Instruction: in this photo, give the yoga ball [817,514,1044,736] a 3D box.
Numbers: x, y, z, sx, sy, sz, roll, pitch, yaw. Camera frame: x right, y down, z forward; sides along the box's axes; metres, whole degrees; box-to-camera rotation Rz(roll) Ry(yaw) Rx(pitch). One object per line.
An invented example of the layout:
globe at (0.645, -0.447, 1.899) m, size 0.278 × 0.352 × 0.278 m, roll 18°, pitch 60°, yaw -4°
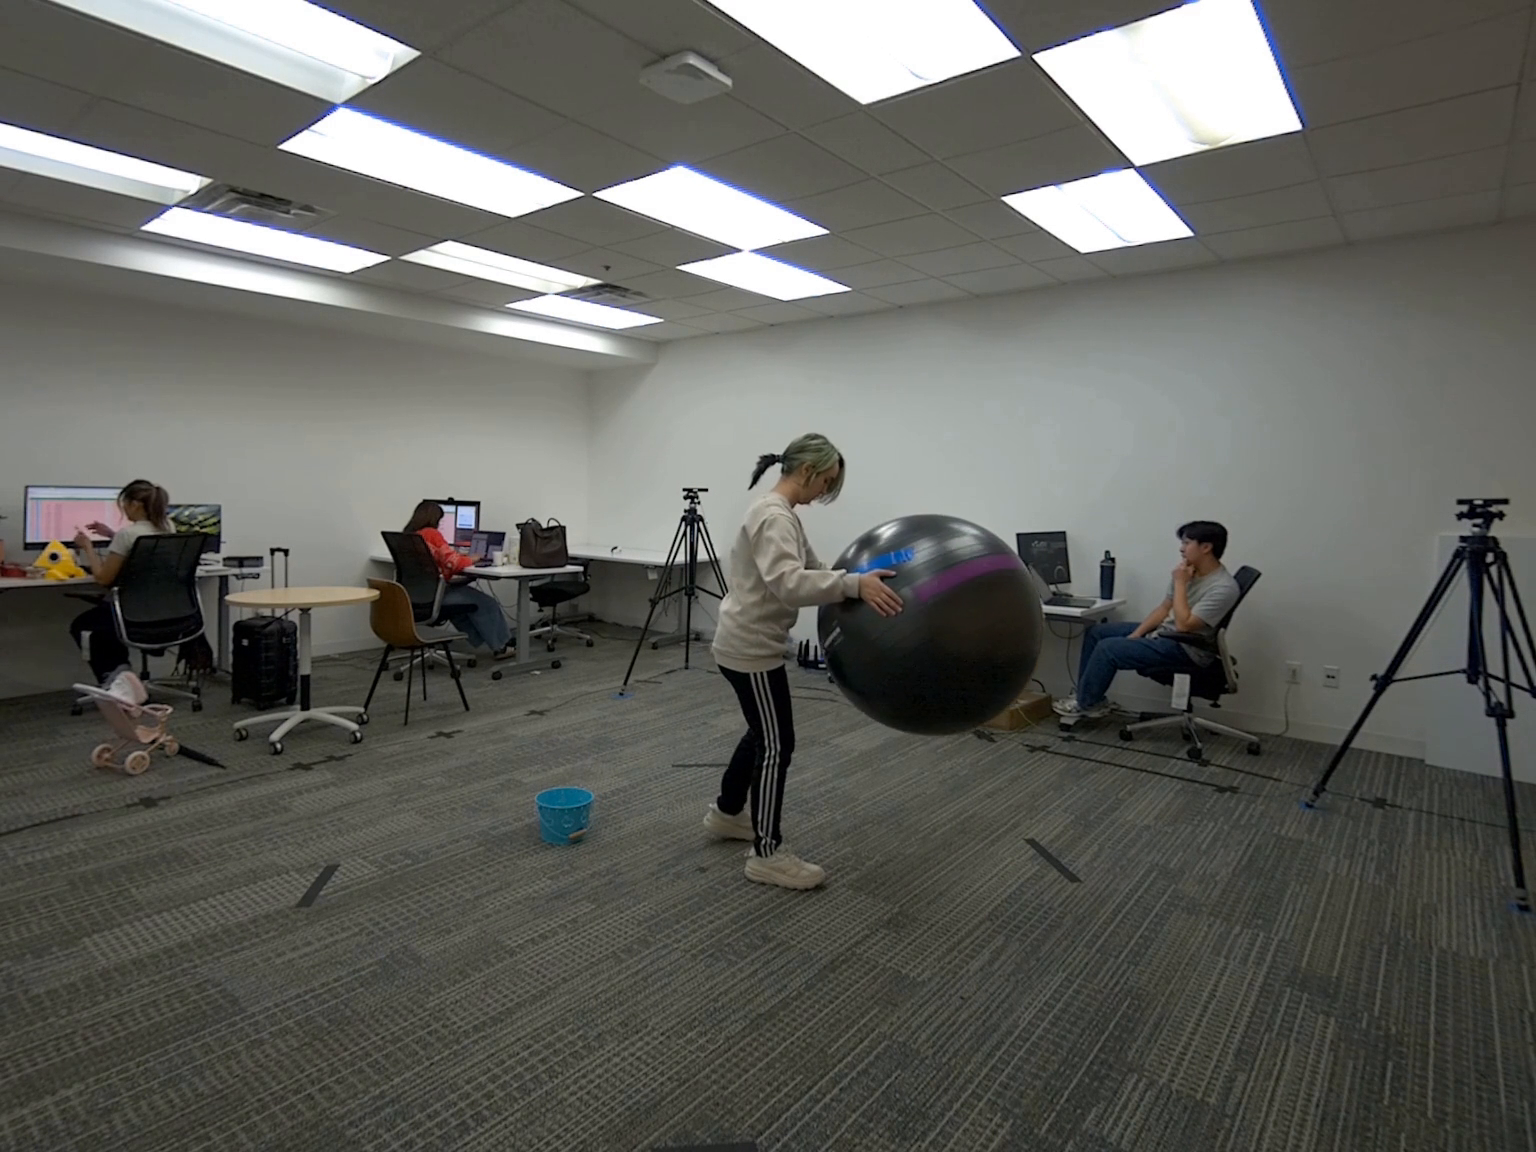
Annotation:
yoga ball at (0.541, 0.166, 2.946) m, size 0.757 × 0.755 × 0.762 m, roll 1°, pitch 4°, yaw -2°
